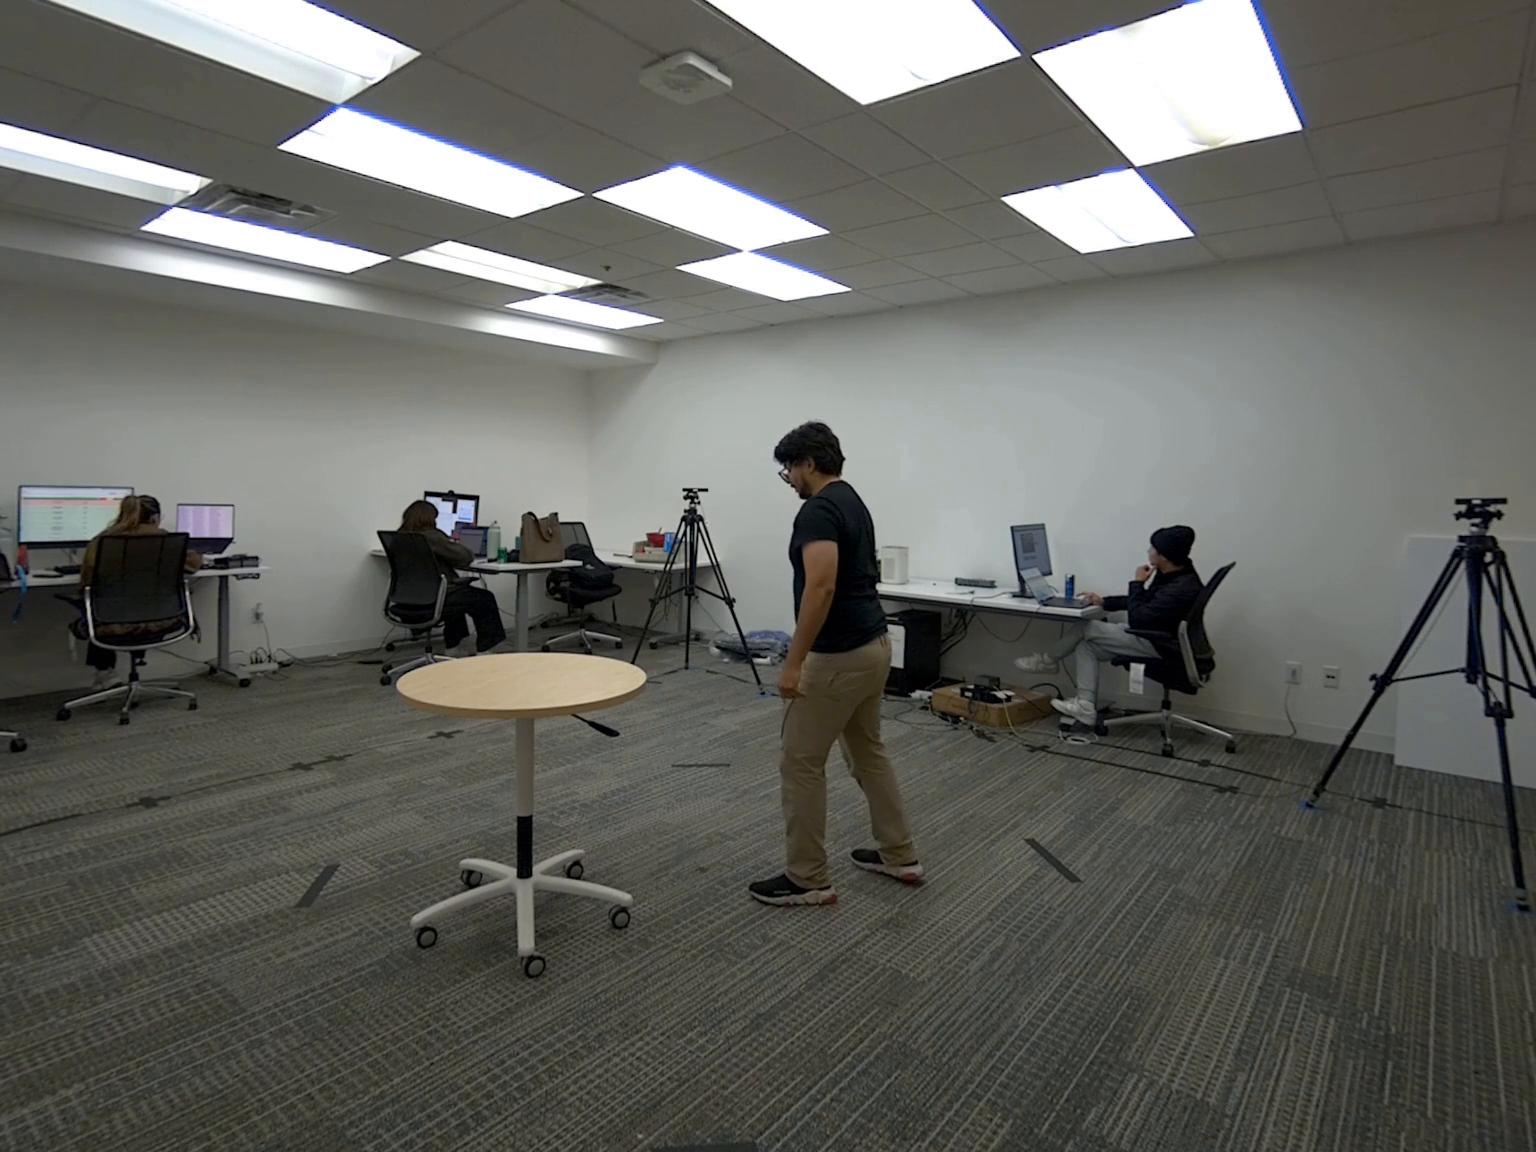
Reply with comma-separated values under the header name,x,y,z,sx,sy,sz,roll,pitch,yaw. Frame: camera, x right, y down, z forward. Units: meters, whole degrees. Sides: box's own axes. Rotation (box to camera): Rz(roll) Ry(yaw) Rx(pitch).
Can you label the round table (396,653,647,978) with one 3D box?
name,x,y,z,sx,sy,sz,roll,pitch,yaw
round table,-0.795,0.708,2.730,0.784,0.783,0.789,1,5,-2
